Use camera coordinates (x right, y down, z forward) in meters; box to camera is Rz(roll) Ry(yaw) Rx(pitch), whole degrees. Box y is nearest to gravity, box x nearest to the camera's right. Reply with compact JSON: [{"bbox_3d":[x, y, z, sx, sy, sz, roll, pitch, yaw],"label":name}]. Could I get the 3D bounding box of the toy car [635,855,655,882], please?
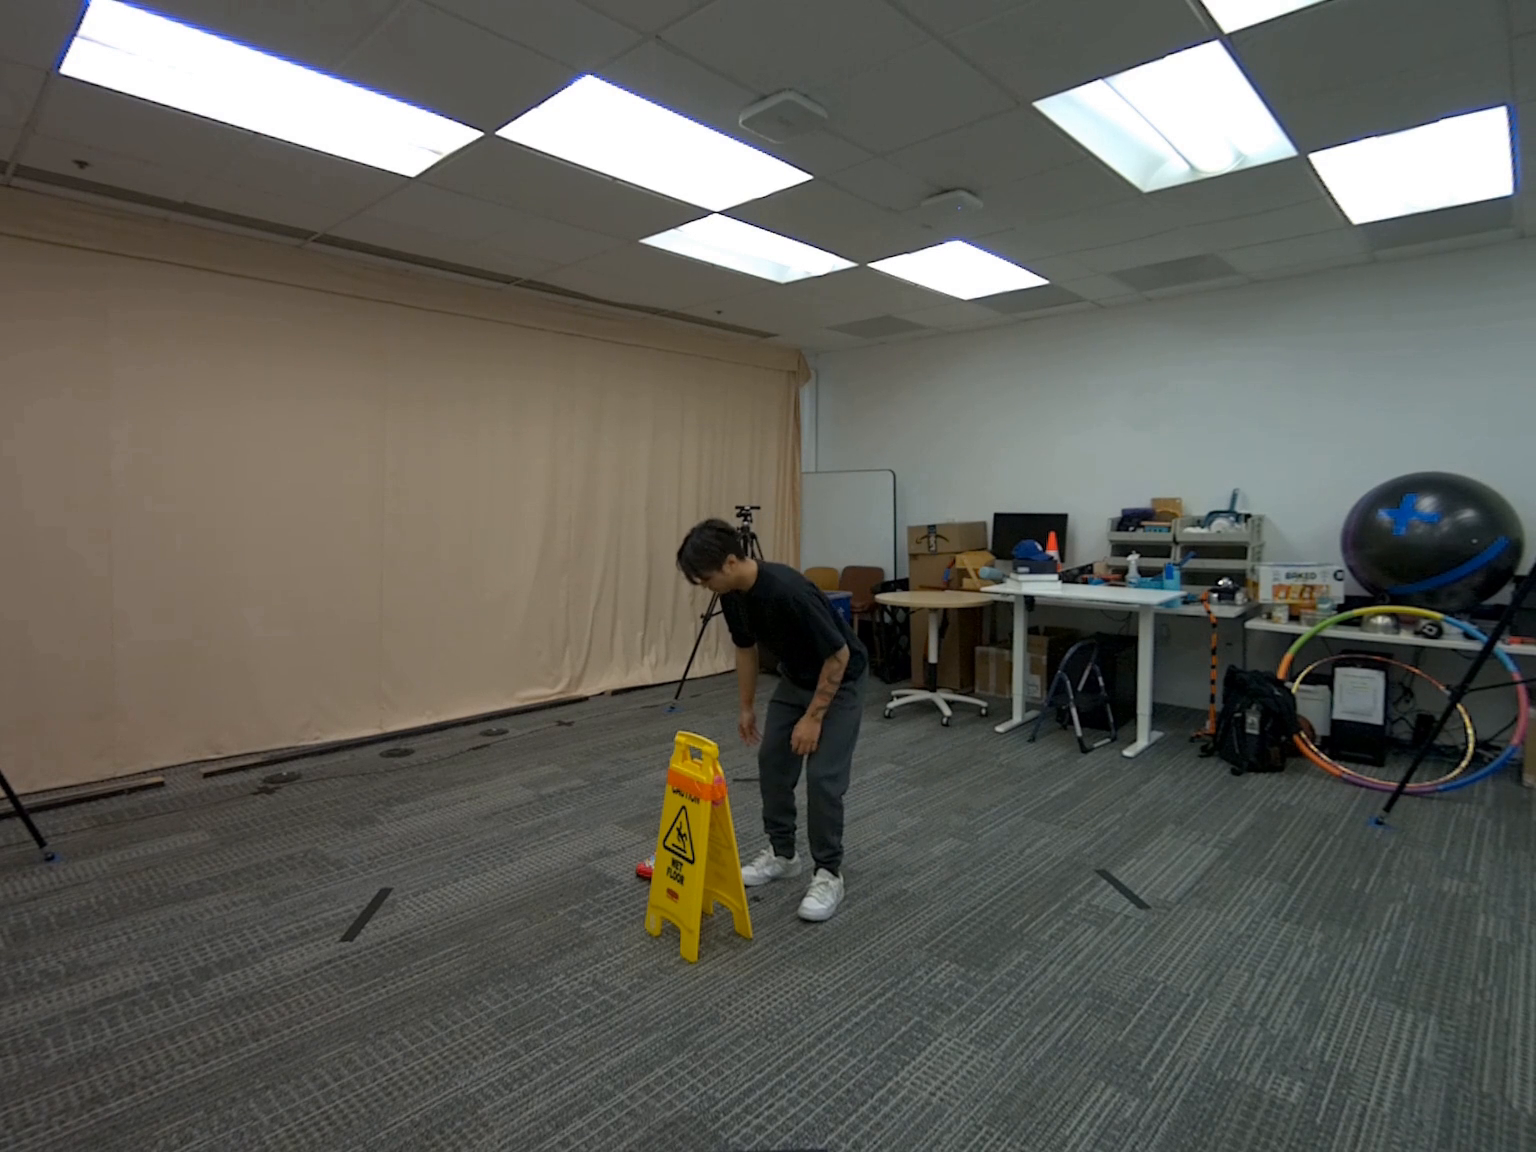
[{"bbox_3d":[-0.397,1.099,3.227,0.134,0.082,0.250,1,15,30],"label":"toy car"}]
